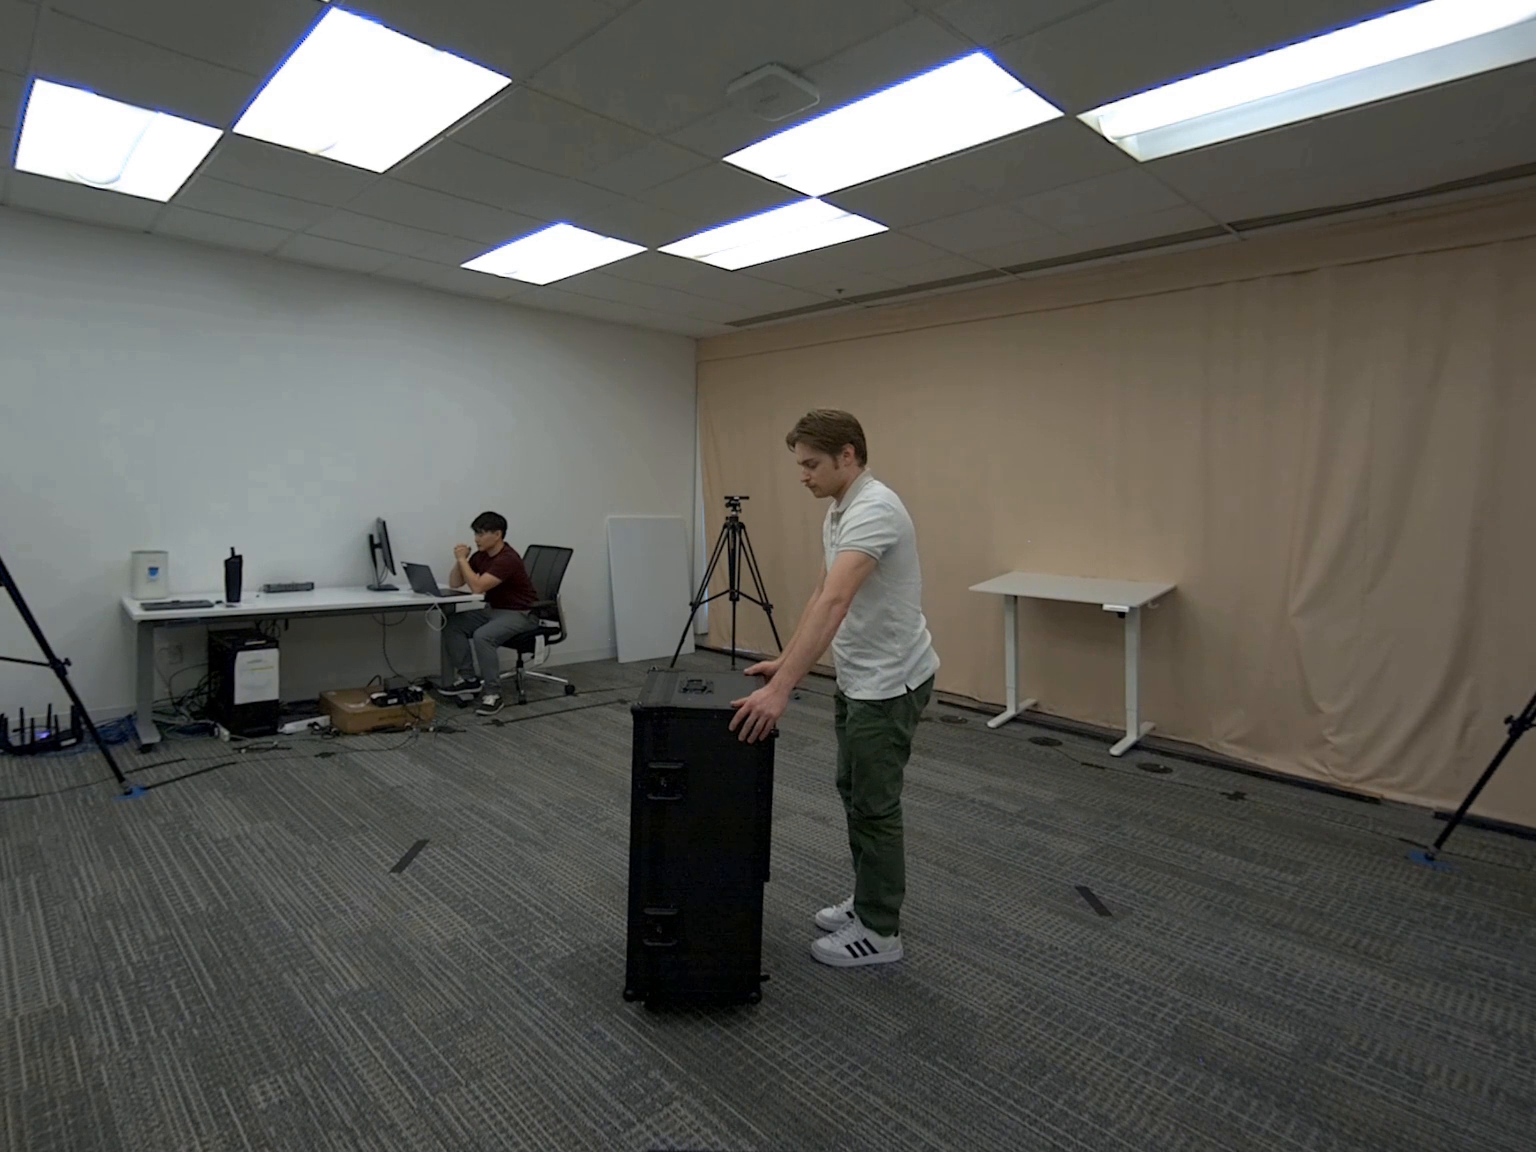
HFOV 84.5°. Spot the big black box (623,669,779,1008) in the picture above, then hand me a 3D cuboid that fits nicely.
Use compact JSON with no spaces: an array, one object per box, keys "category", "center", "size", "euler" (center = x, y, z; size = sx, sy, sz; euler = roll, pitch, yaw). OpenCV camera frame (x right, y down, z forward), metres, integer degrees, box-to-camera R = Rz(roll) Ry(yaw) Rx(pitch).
[{"category":"big black box","center":[-0.192,0.740,2.412],"size":[0.396,0.860,0.522],"euler":[2,3,-1]}]
